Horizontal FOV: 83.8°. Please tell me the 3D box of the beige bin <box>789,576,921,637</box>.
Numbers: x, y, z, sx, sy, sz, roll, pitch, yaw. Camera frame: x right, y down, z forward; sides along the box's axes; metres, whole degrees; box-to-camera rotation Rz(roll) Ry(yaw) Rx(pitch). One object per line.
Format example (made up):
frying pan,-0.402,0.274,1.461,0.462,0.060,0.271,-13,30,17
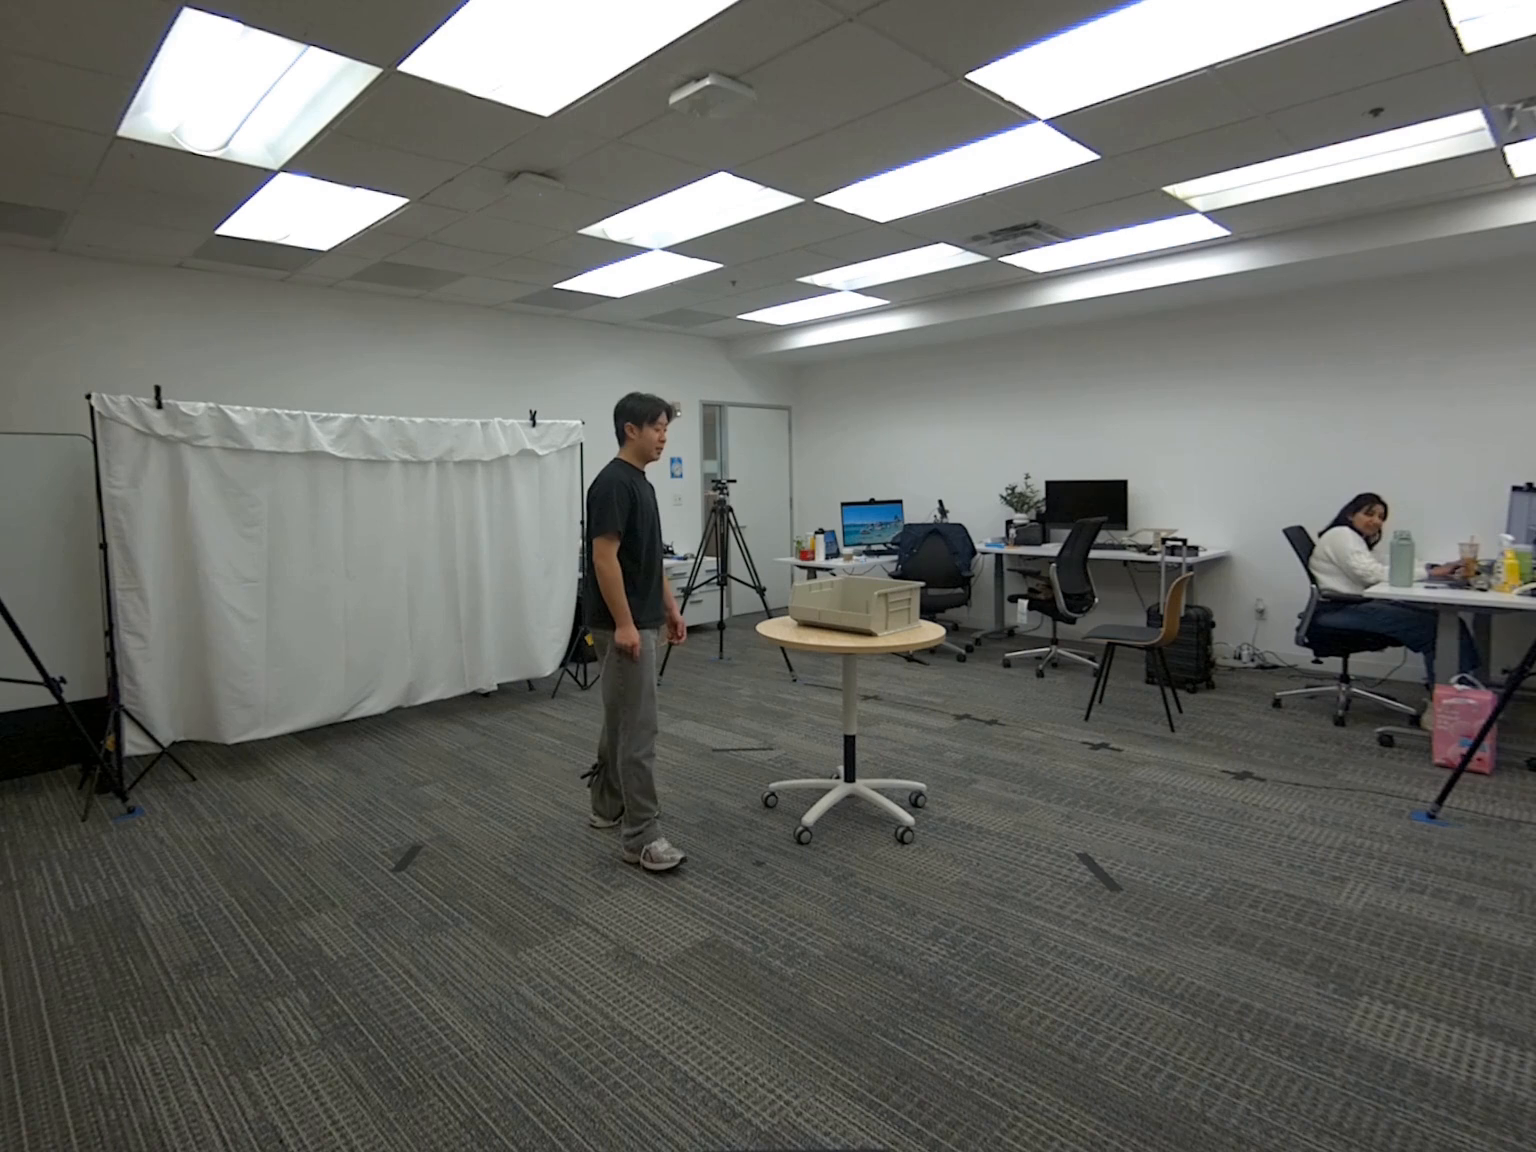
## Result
beige bin,0.364,0.120,3.529,0.435,0.188,0.367,4,7,43
